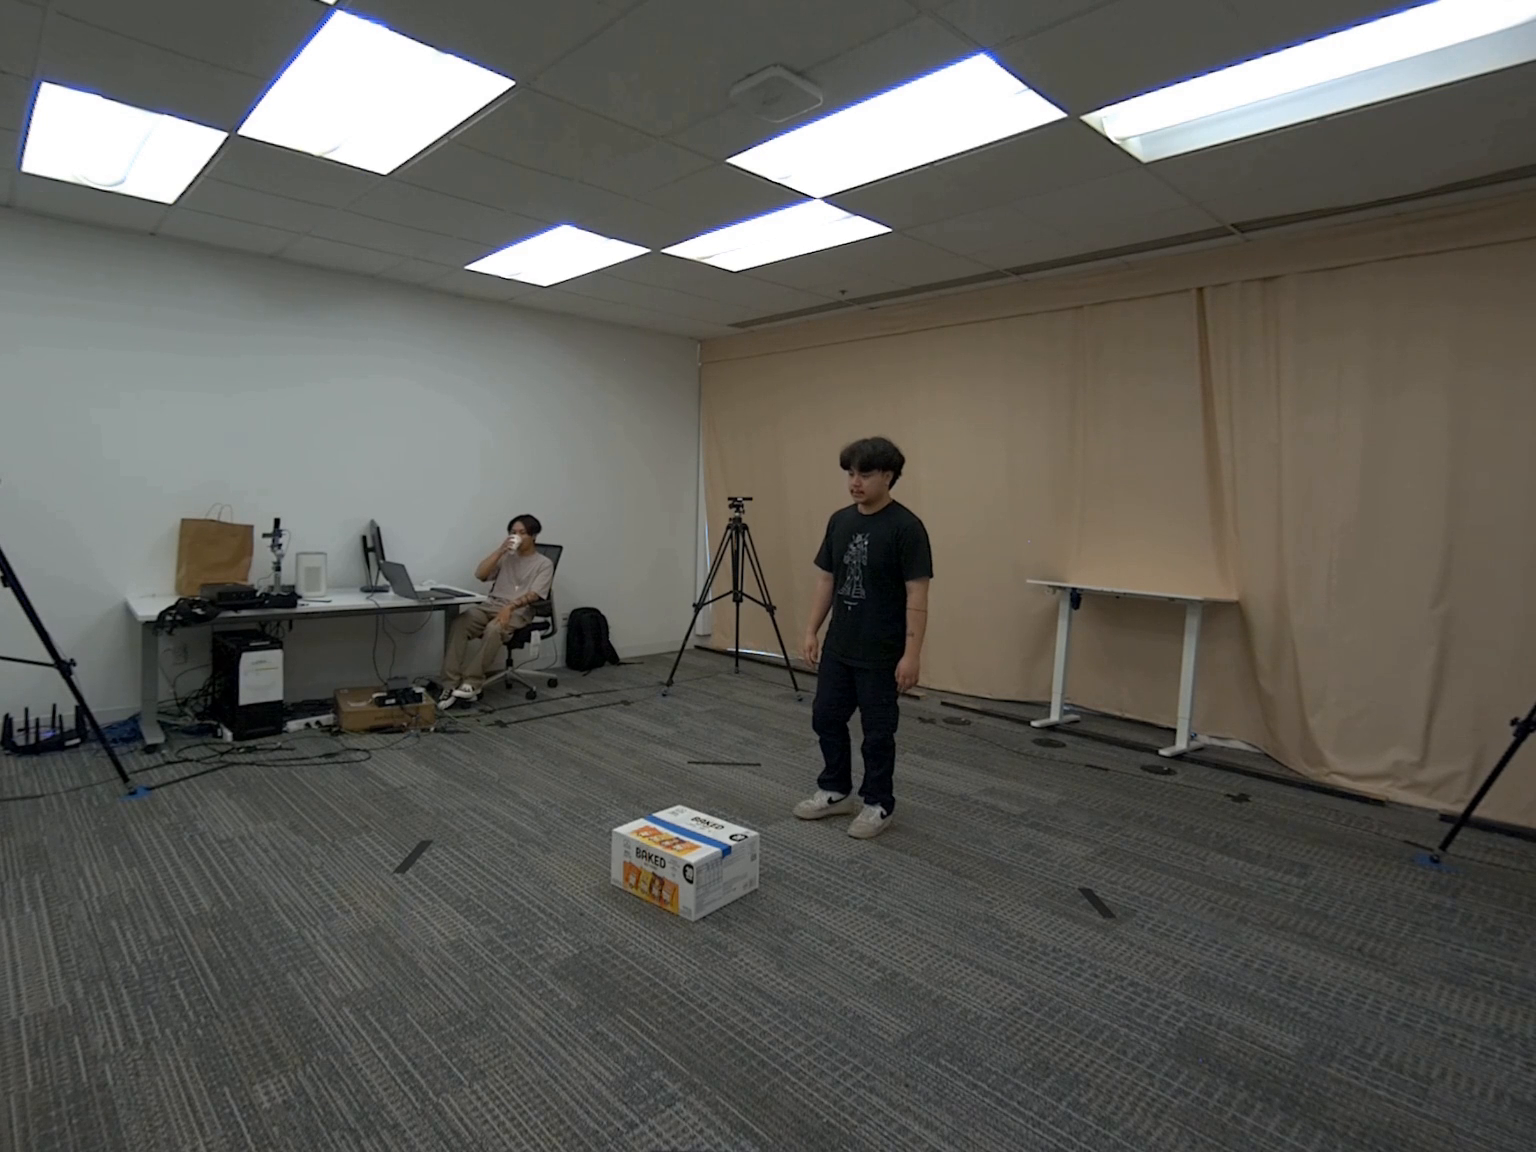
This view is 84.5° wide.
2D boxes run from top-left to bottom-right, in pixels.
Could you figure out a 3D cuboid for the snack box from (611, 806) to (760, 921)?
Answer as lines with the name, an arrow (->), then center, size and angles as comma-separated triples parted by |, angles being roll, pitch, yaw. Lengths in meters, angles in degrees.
snack box -> -0.301, 1.012, 3.000 | 0.415, 0.205, 0.333 | 5, 6, 39
